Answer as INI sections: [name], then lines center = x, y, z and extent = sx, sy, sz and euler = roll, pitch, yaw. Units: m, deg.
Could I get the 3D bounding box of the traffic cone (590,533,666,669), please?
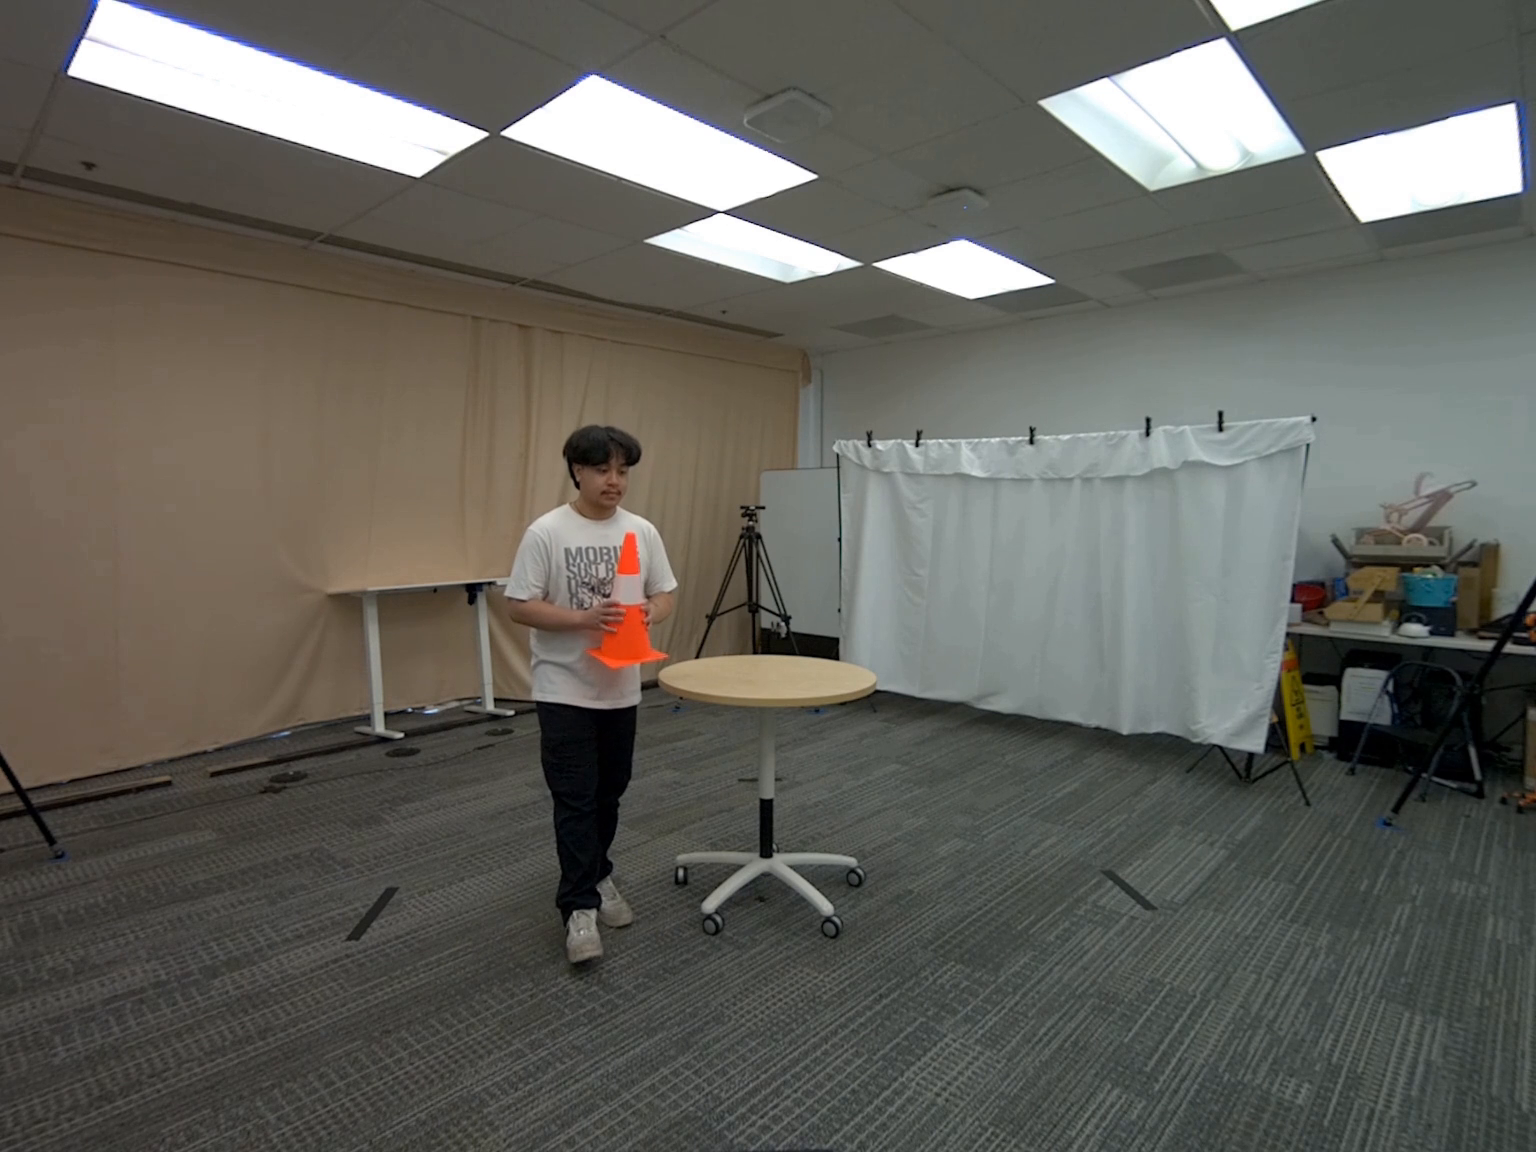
[traffic cone]
center = -0.428, 0.055, 2.575
extent = 0.210, 0.381, 0.199
euler = 14, 14, 40
